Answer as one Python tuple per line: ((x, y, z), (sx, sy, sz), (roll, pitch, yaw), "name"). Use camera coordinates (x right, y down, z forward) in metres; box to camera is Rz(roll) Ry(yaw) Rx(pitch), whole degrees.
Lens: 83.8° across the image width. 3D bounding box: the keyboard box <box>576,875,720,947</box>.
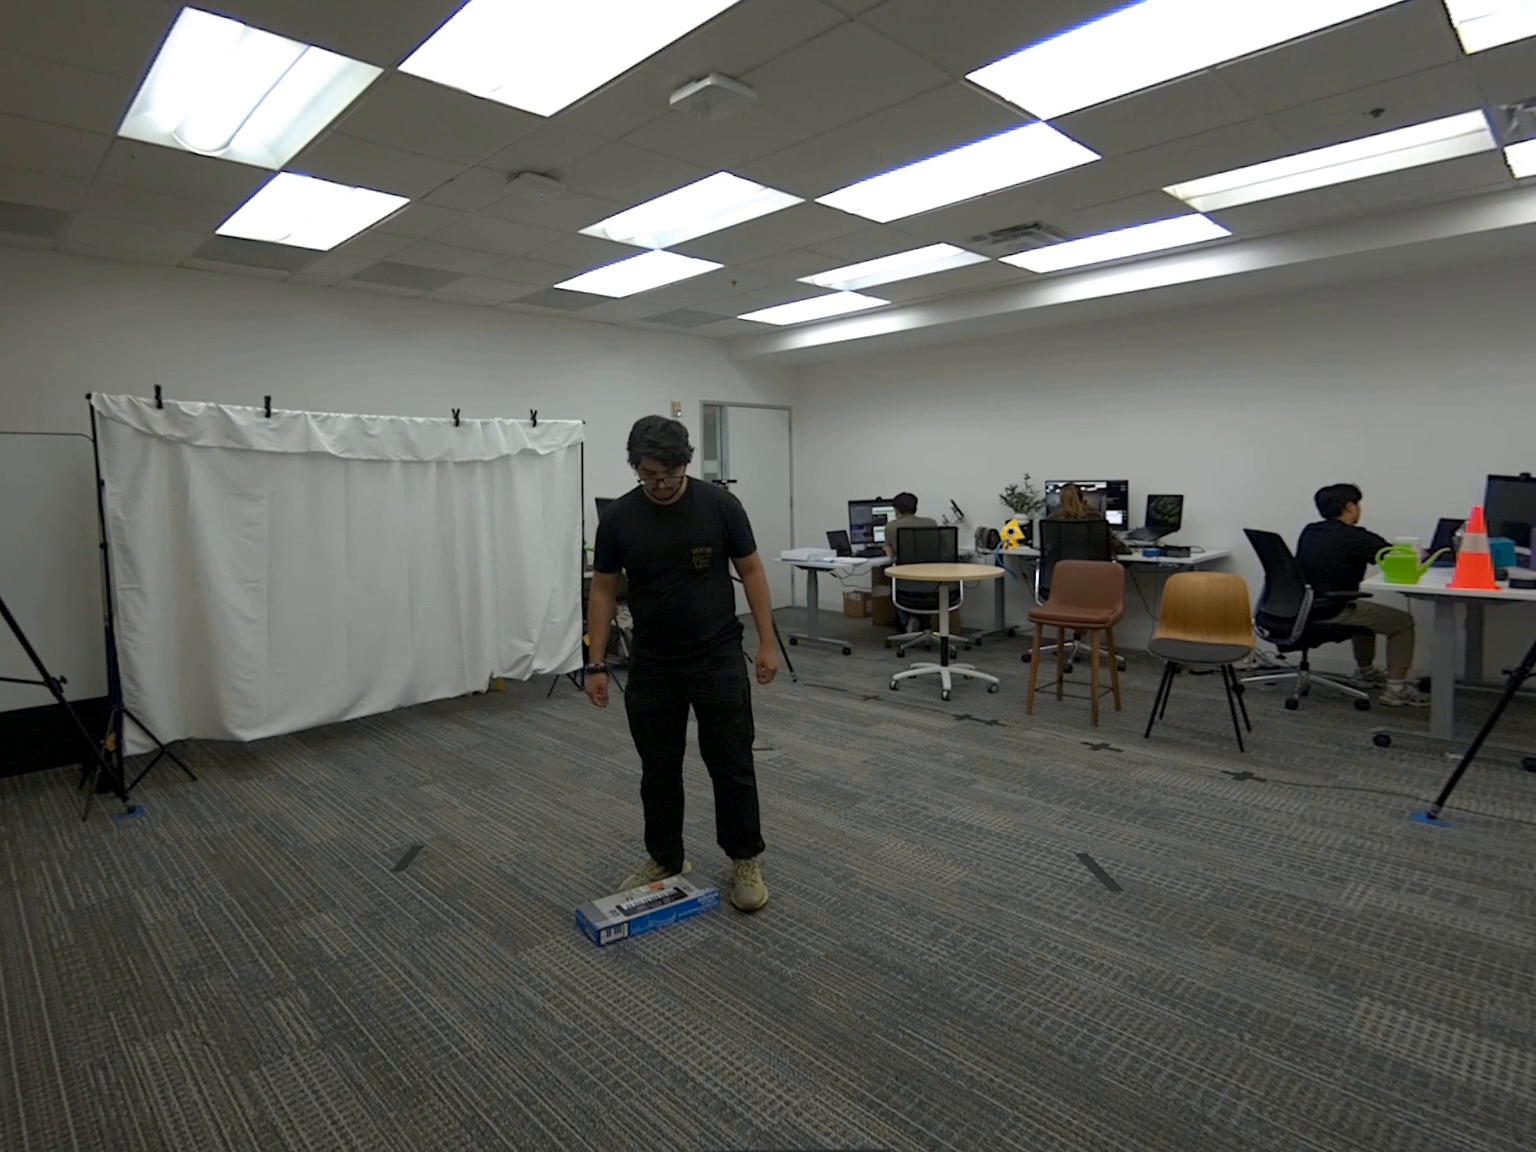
((-0.381, 1.065, 2.750), (0.426, 0.059, 0.181), (-6, 8, -33), "keyboard box")
